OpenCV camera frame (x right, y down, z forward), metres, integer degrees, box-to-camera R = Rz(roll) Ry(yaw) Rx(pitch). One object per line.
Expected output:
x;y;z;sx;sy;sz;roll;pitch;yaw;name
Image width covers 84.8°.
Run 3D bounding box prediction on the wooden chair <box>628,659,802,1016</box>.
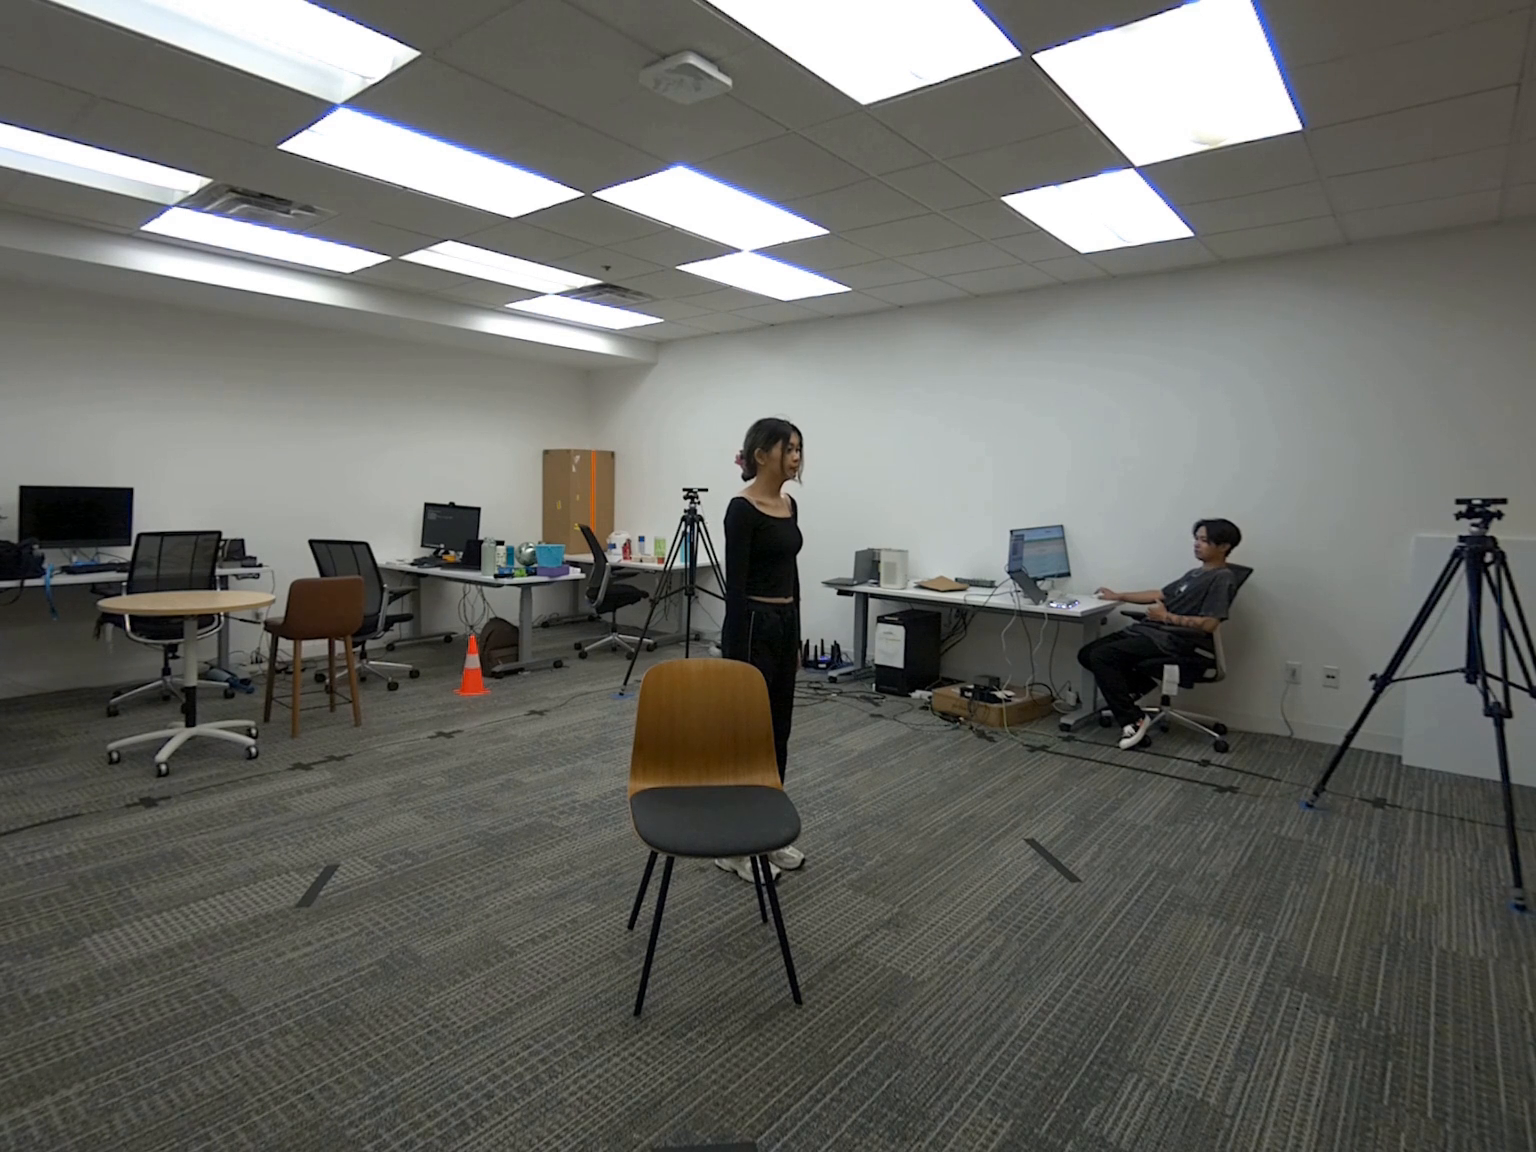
-0.171;0.710;2.449;0.473;0.878;0.529;1;0;-10;wooden chair
